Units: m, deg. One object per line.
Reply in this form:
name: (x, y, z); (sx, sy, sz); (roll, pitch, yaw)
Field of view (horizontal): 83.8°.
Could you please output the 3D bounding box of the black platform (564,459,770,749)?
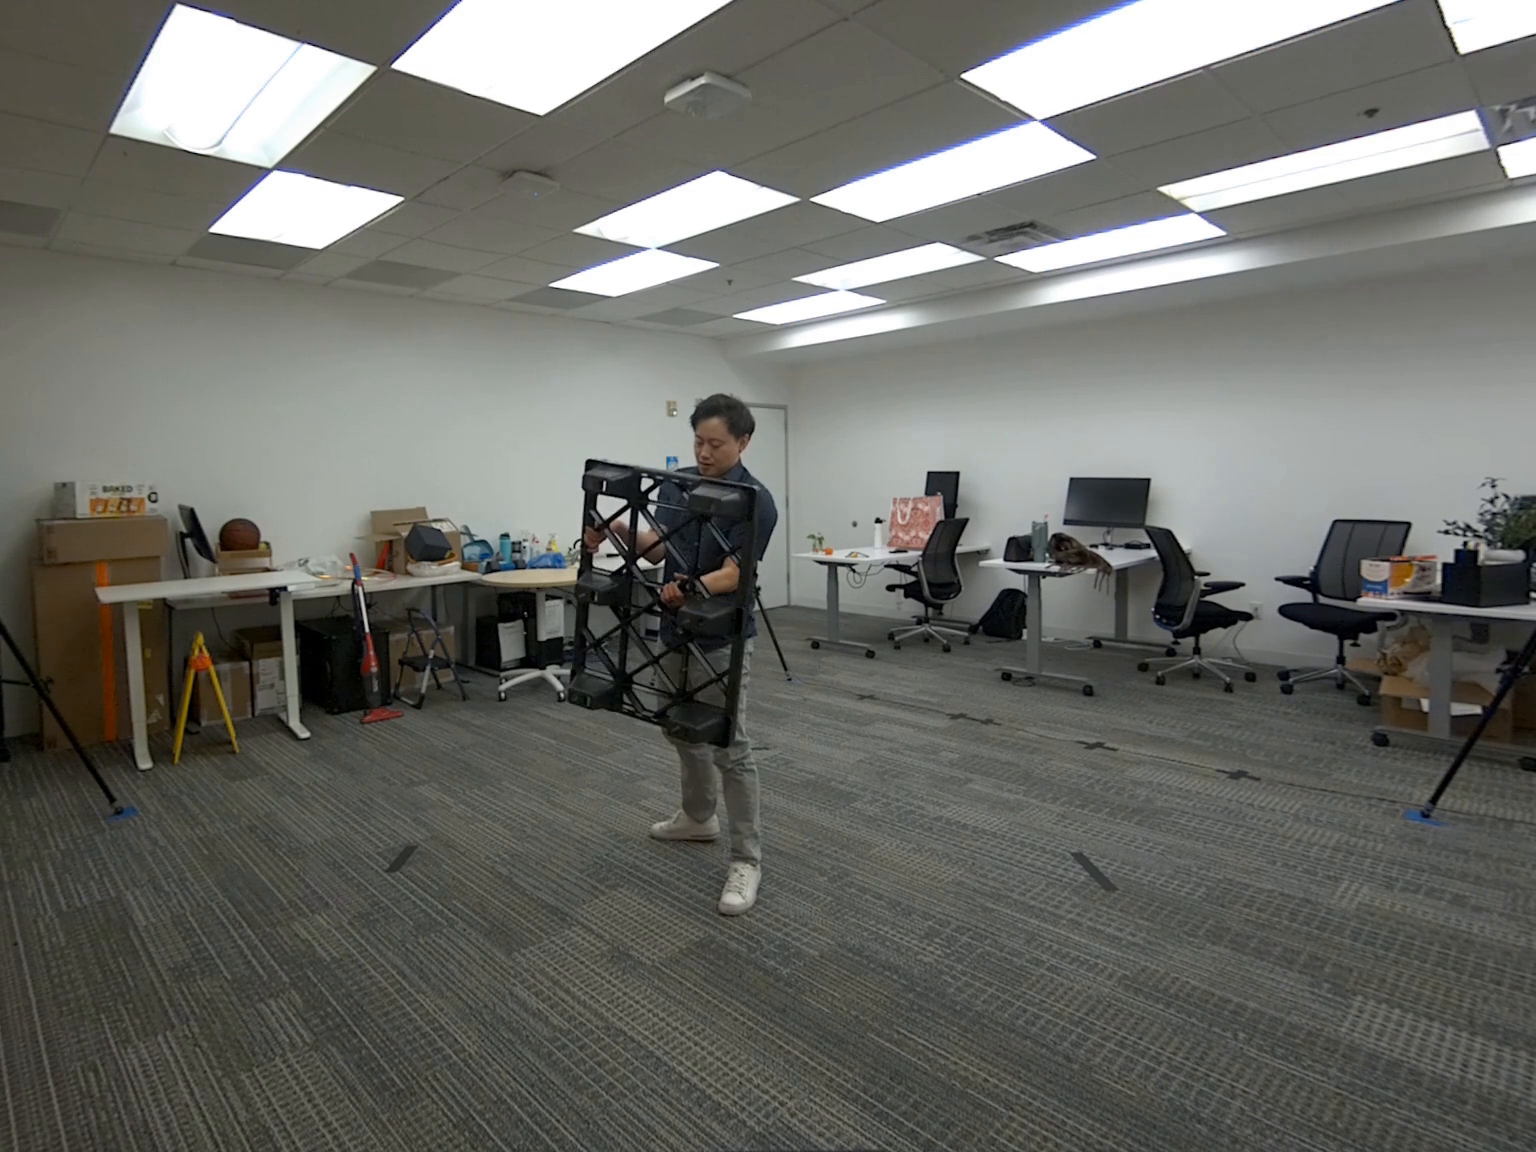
black platform: (-0.352, 0.087, 2.587); (0.621, 0.798, 0.141); (12, 12, 25)
